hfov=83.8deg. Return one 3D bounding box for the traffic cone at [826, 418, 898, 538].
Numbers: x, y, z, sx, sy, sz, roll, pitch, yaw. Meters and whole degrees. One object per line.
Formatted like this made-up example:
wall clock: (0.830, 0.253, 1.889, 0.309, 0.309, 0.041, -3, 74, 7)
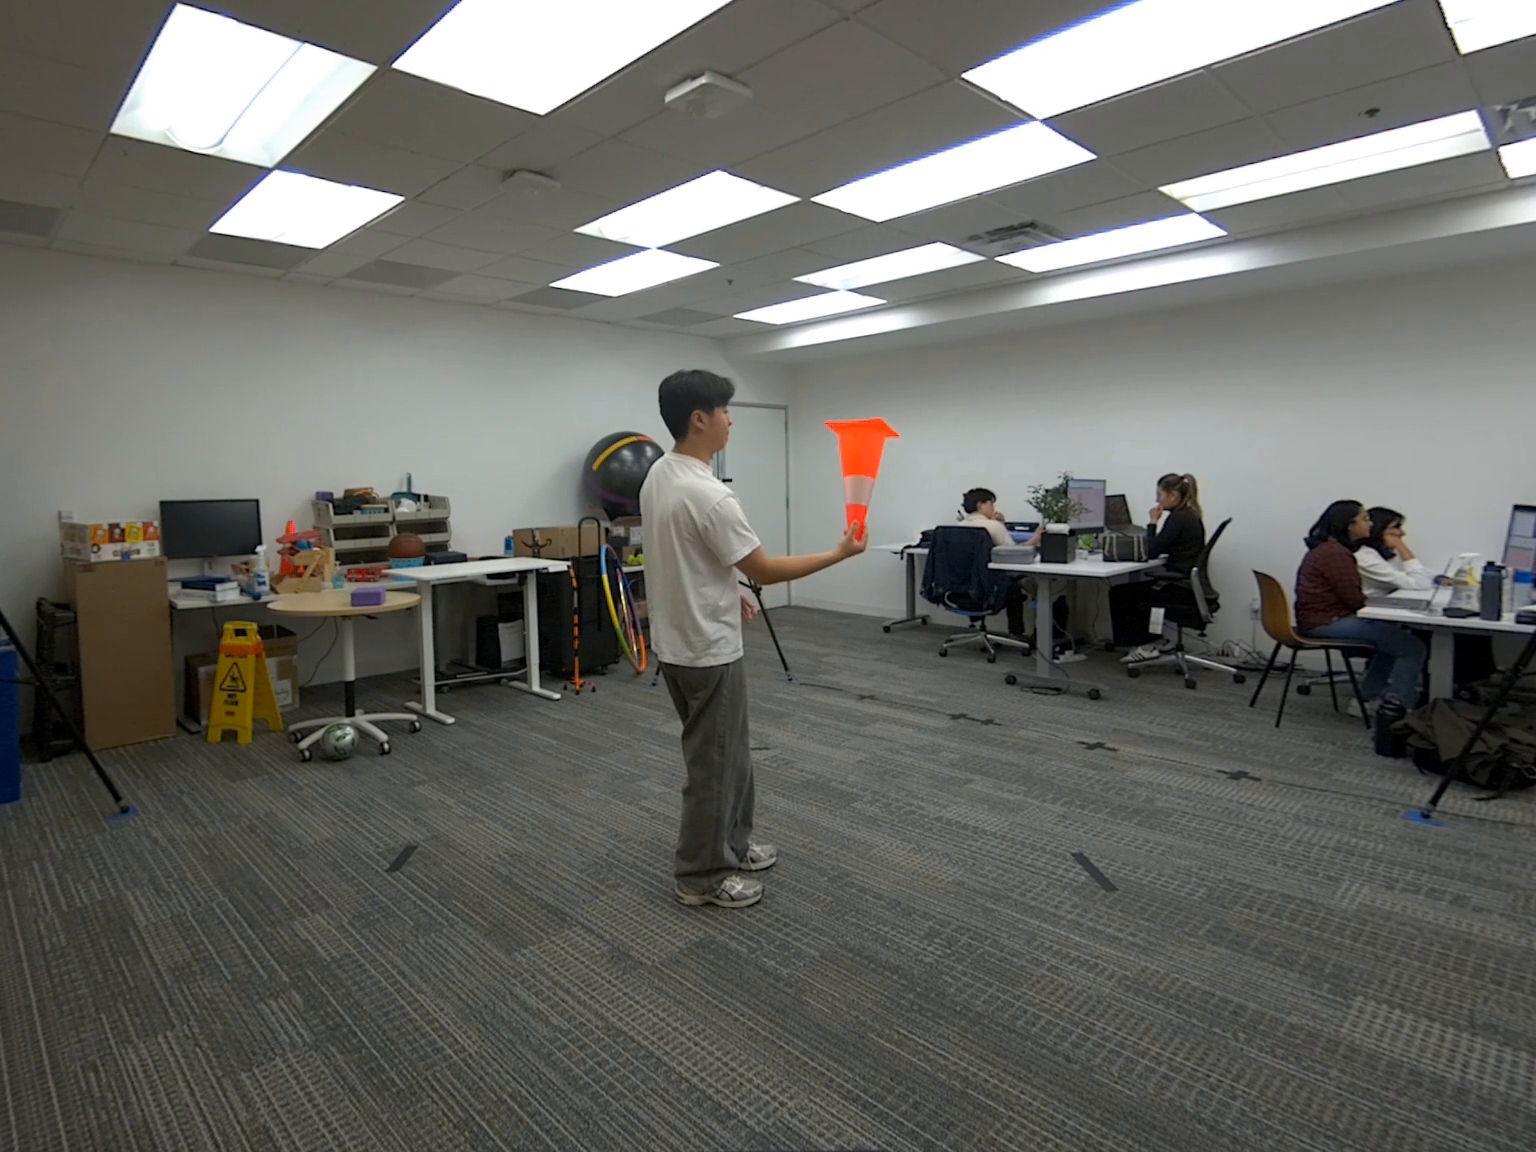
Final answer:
traffic cone: (0.304, -0.292, 2.754, 0.209, 0.387, 0.197, -1, -11, 21)
